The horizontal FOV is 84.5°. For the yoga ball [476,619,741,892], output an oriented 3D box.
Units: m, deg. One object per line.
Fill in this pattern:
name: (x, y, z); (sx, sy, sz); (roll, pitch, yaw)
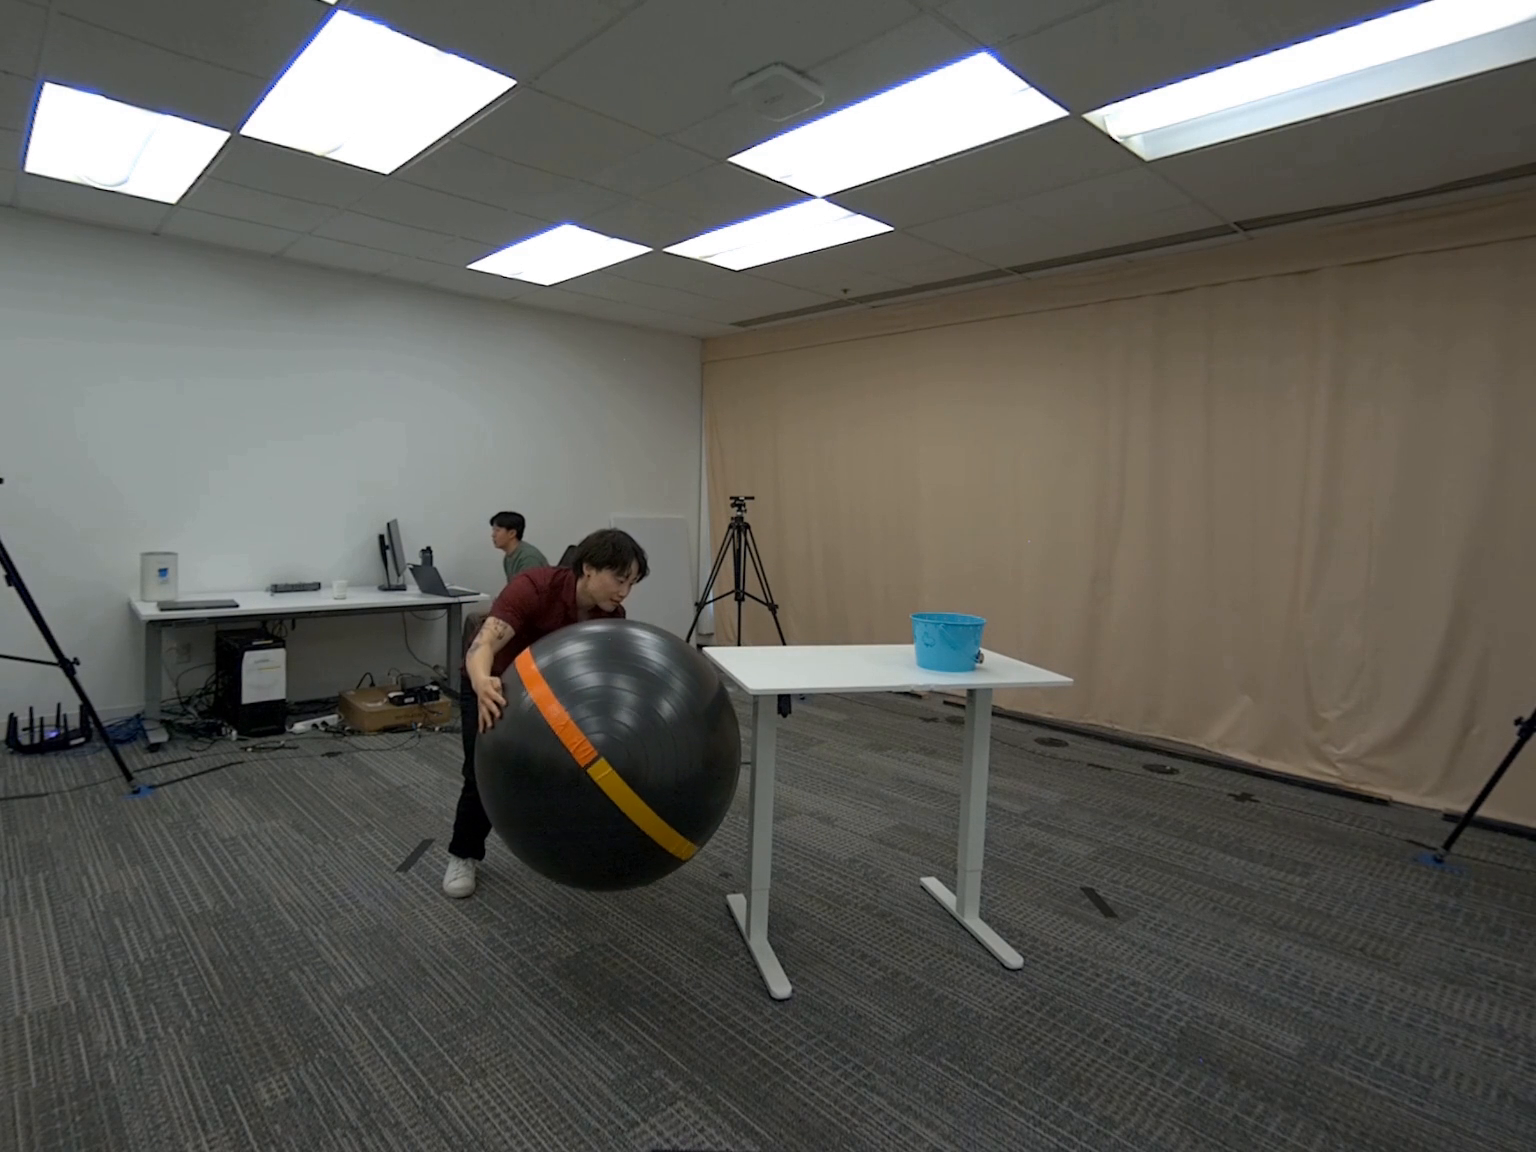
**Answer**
yoga ball: (-0.471, 0.516, 2.432); (0.757, 0.756, 0.760); (1, 4, -1)
